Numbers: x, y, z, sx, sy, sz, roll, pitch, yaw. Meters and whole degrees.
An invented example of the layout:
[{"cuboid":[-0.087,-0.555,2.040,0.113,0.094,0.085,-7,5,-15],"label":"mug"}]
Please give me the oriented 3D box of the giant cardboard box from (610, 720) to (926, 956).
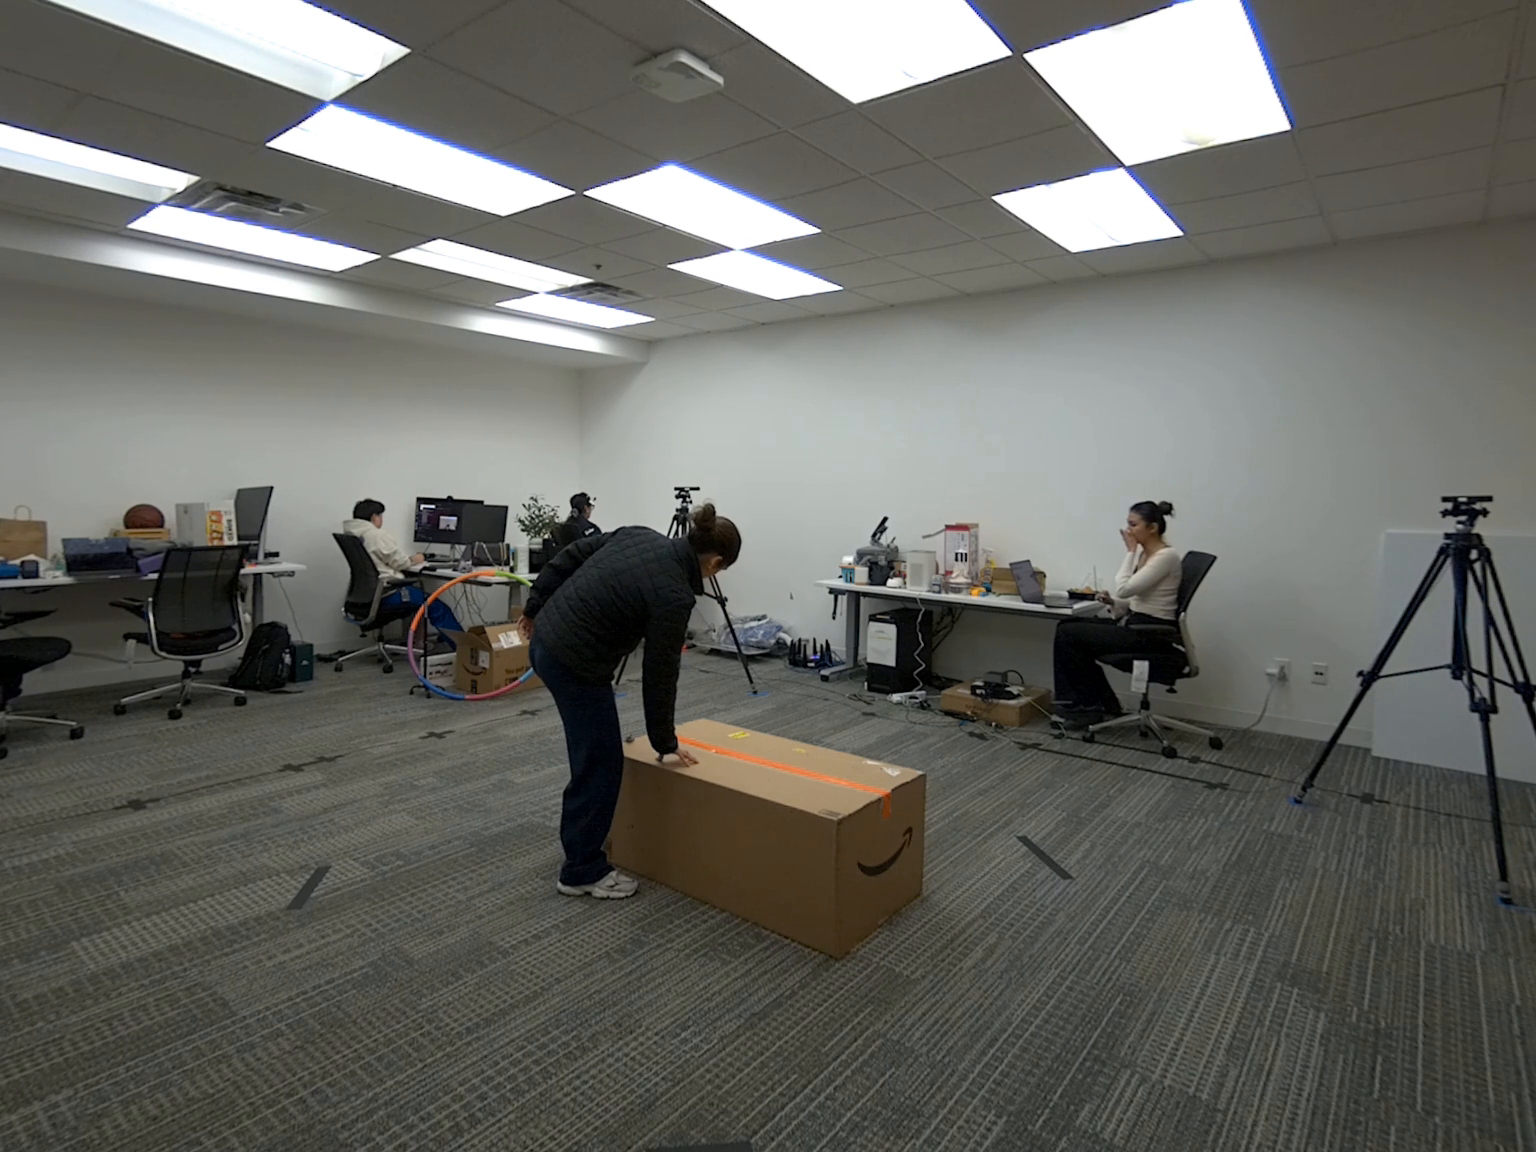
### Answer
[{"cuboid":[-0.022,0.865,3.059,1.062,0.444,0.567,6,8,39],"label":"giant cardboard box"}]
